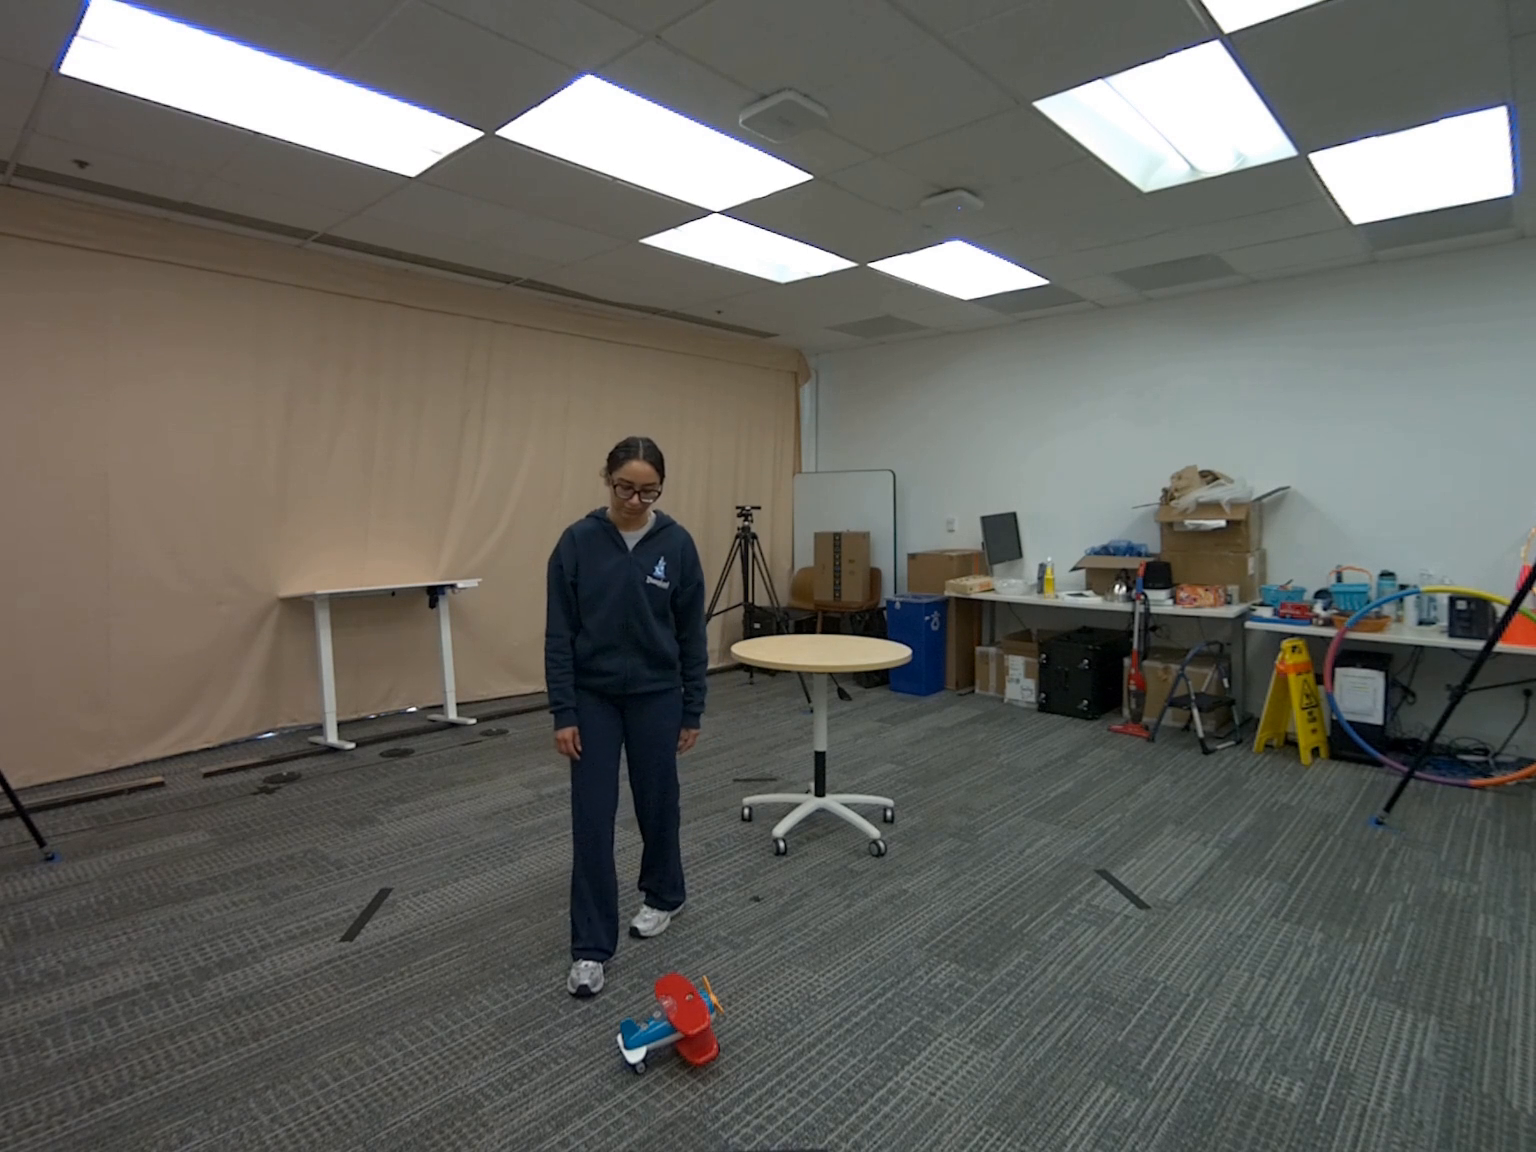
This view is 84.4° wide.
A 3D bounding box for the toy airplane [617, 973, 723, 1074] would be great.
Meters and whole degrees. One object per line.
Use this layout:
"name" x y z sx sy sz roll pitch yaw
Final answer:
"toy airplane" -0.218 1.150 2.099 0.259 0.156 0.251 3 5 39
